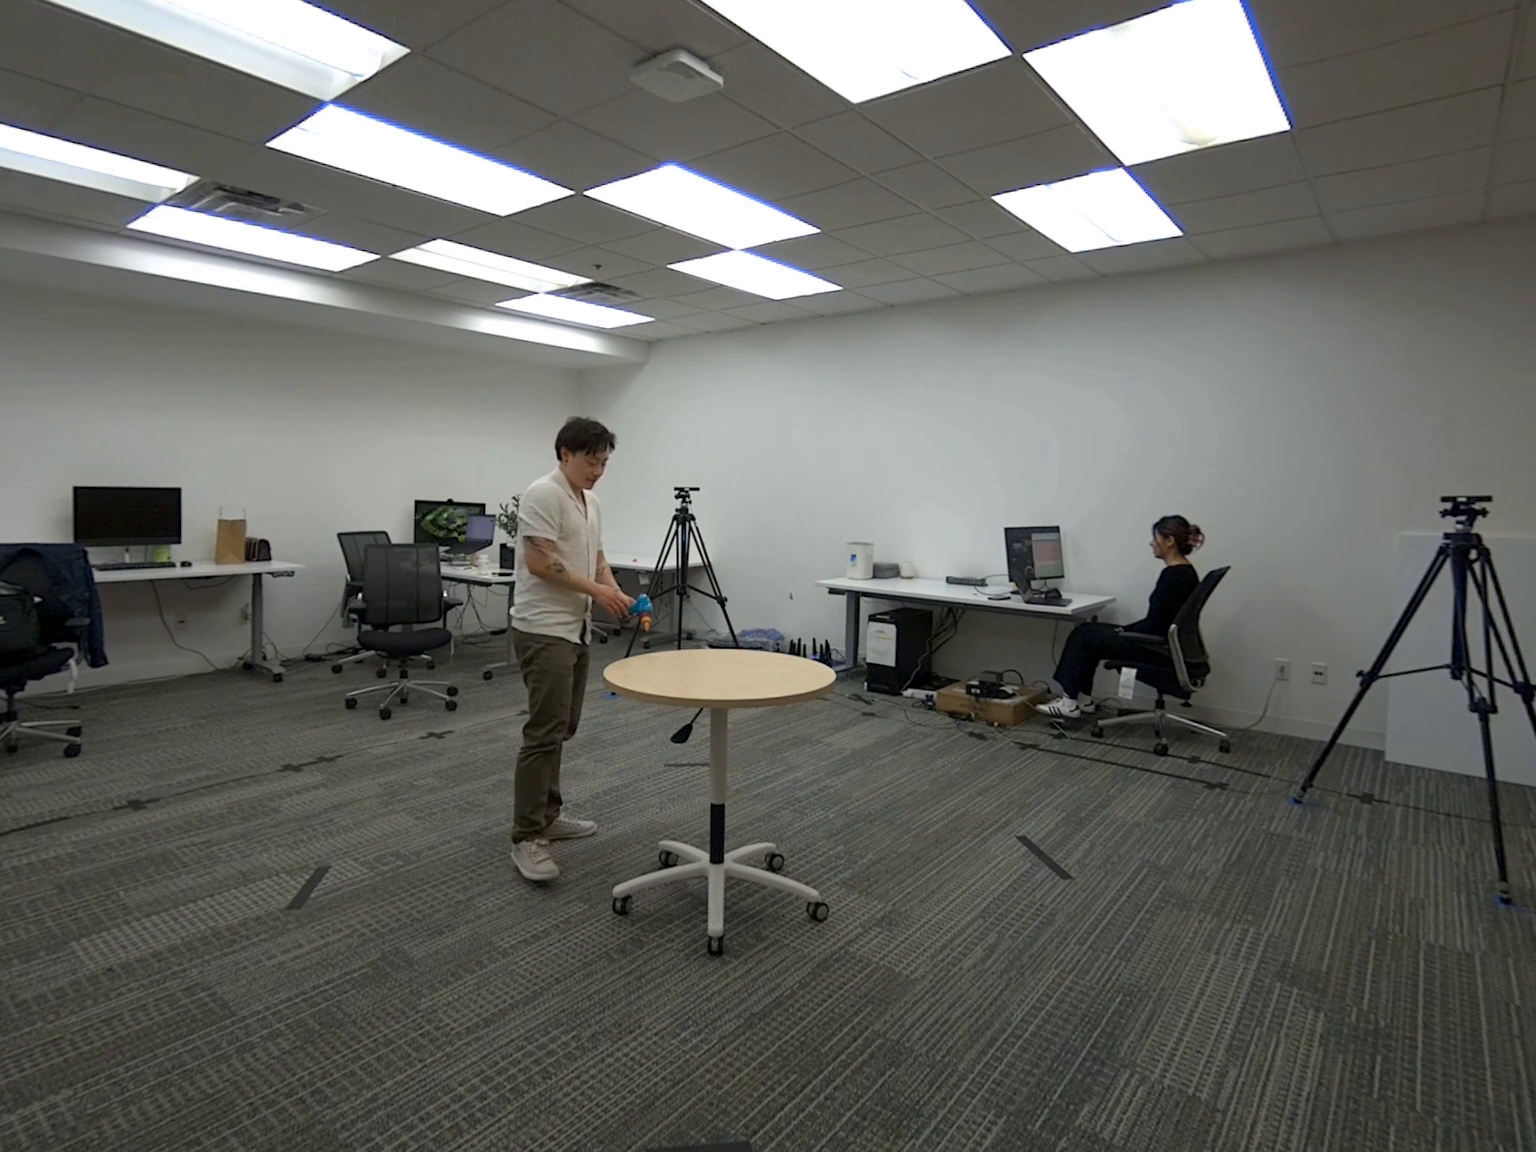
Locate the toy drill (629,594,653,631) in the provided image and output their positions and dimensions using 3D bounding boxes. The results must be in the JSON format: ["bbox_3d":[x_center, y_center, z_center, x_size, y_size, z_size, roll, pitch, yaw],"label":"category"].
[{"bbox_3d":[-0.519,0.156,3.275,0.147,0.175,0.058,-29,-36,23],"label":"toy drill"}]
